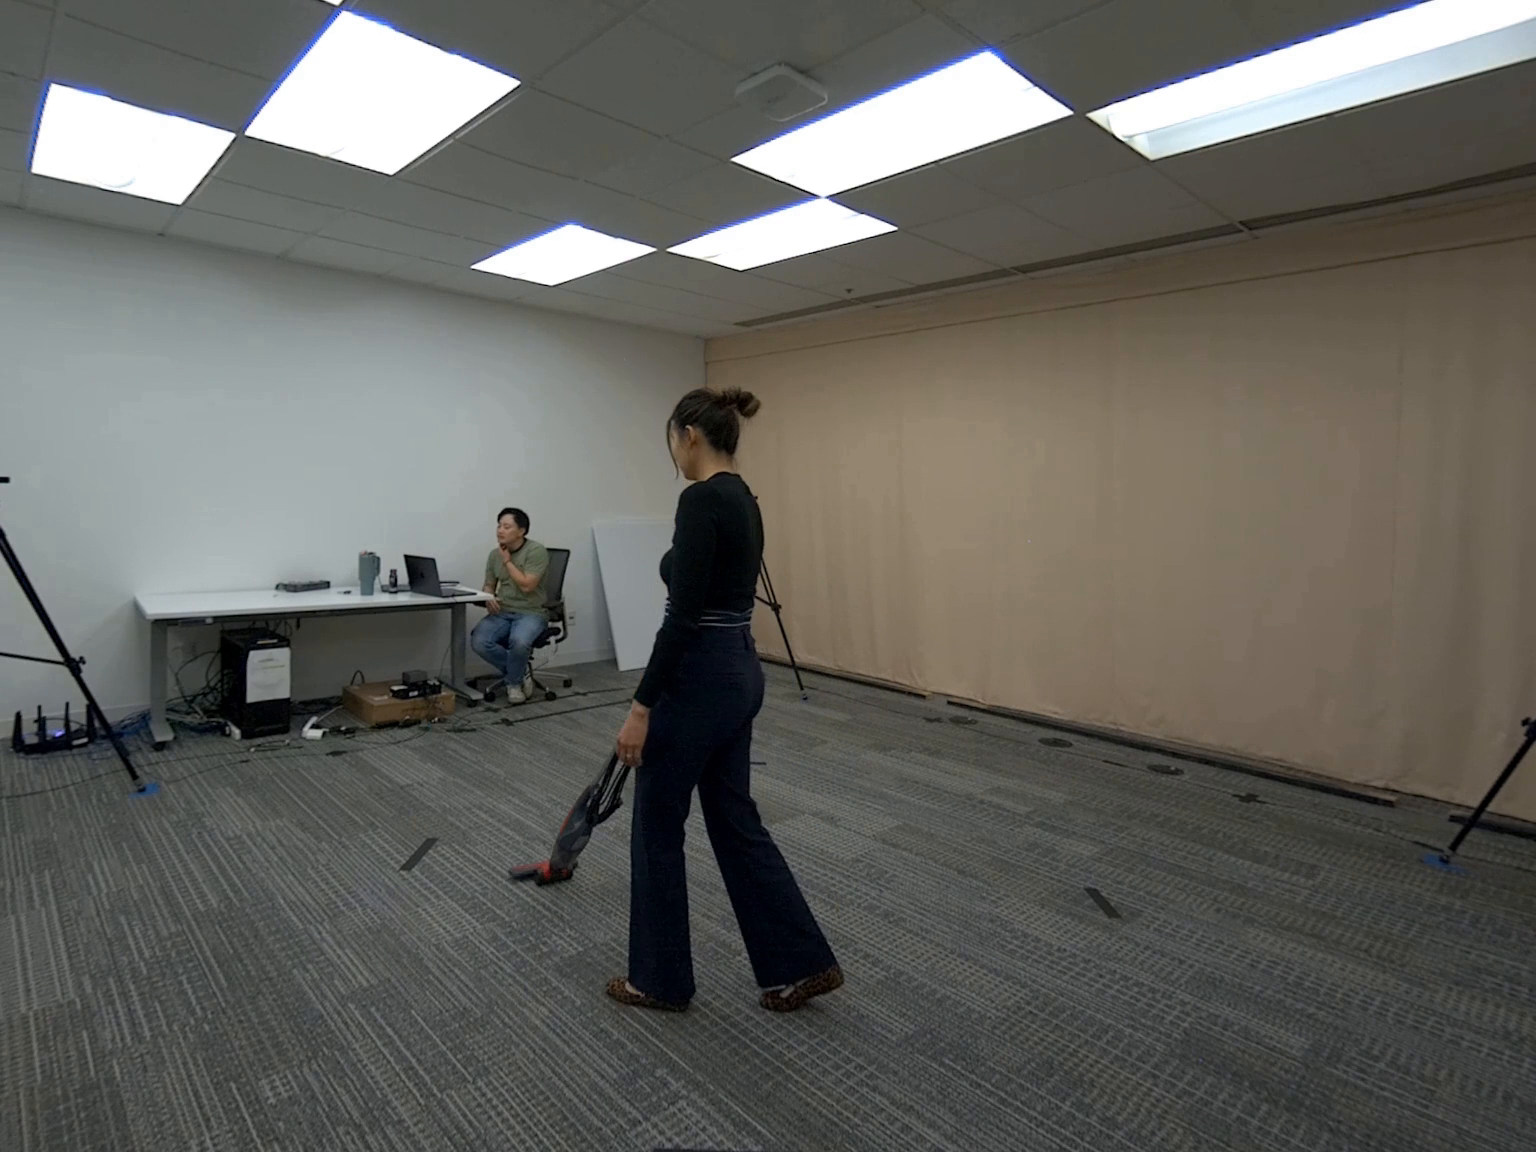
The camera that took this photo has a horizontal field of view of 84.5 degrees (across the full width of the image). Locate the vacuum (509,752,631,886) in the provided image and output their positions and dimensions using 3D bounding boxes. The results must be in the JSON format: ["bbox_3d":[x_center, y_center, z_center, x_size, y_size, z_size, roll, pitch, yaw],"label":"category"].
[{"bbox_3d":[-0.577,0.736,2.758,0.247,1.043,0.148,-6,51,-40],"label":"vacuum"}]
